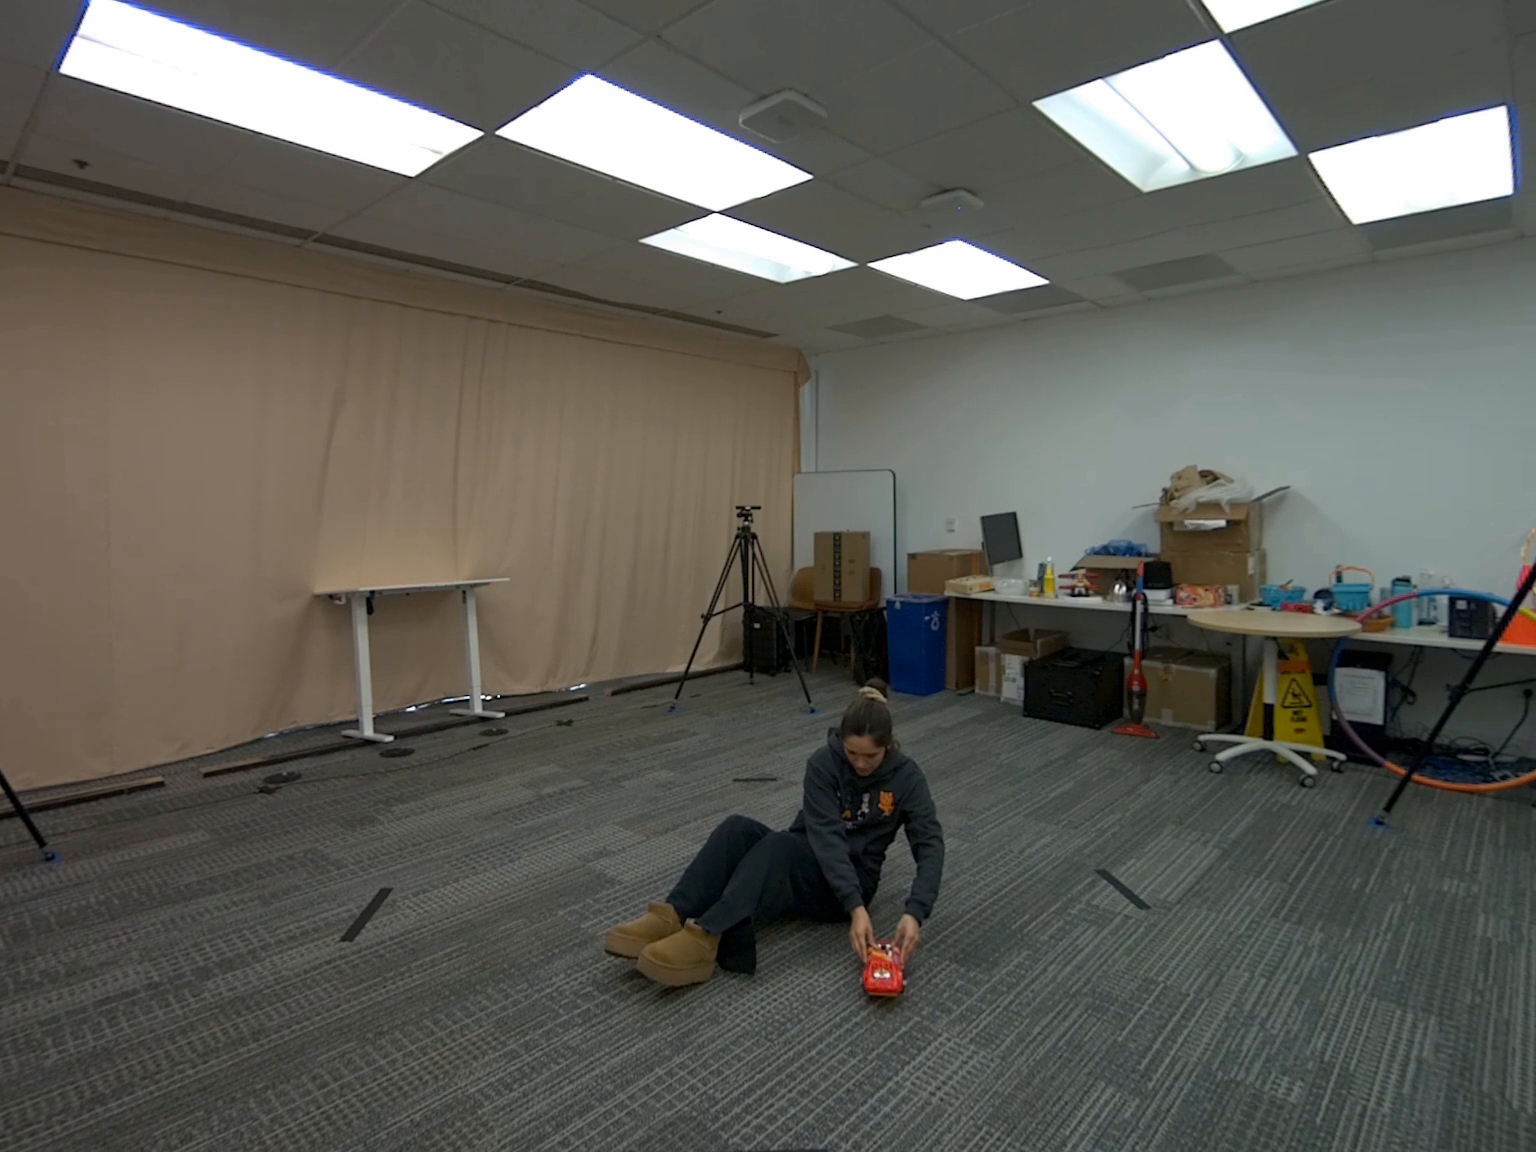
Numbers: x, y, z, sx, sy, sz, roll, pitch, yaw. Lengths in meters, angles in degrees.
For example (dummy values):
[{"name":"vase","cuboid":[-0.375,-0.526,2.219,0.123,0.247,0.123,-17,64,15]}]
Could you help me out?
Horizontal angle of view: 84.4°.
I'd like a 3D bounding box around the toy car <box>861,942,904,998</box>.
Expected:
[{"name":"toy car","cuboid":[0.335,1.120,2.421,0.132,0.083,0.250,-4,-5,11]}]
